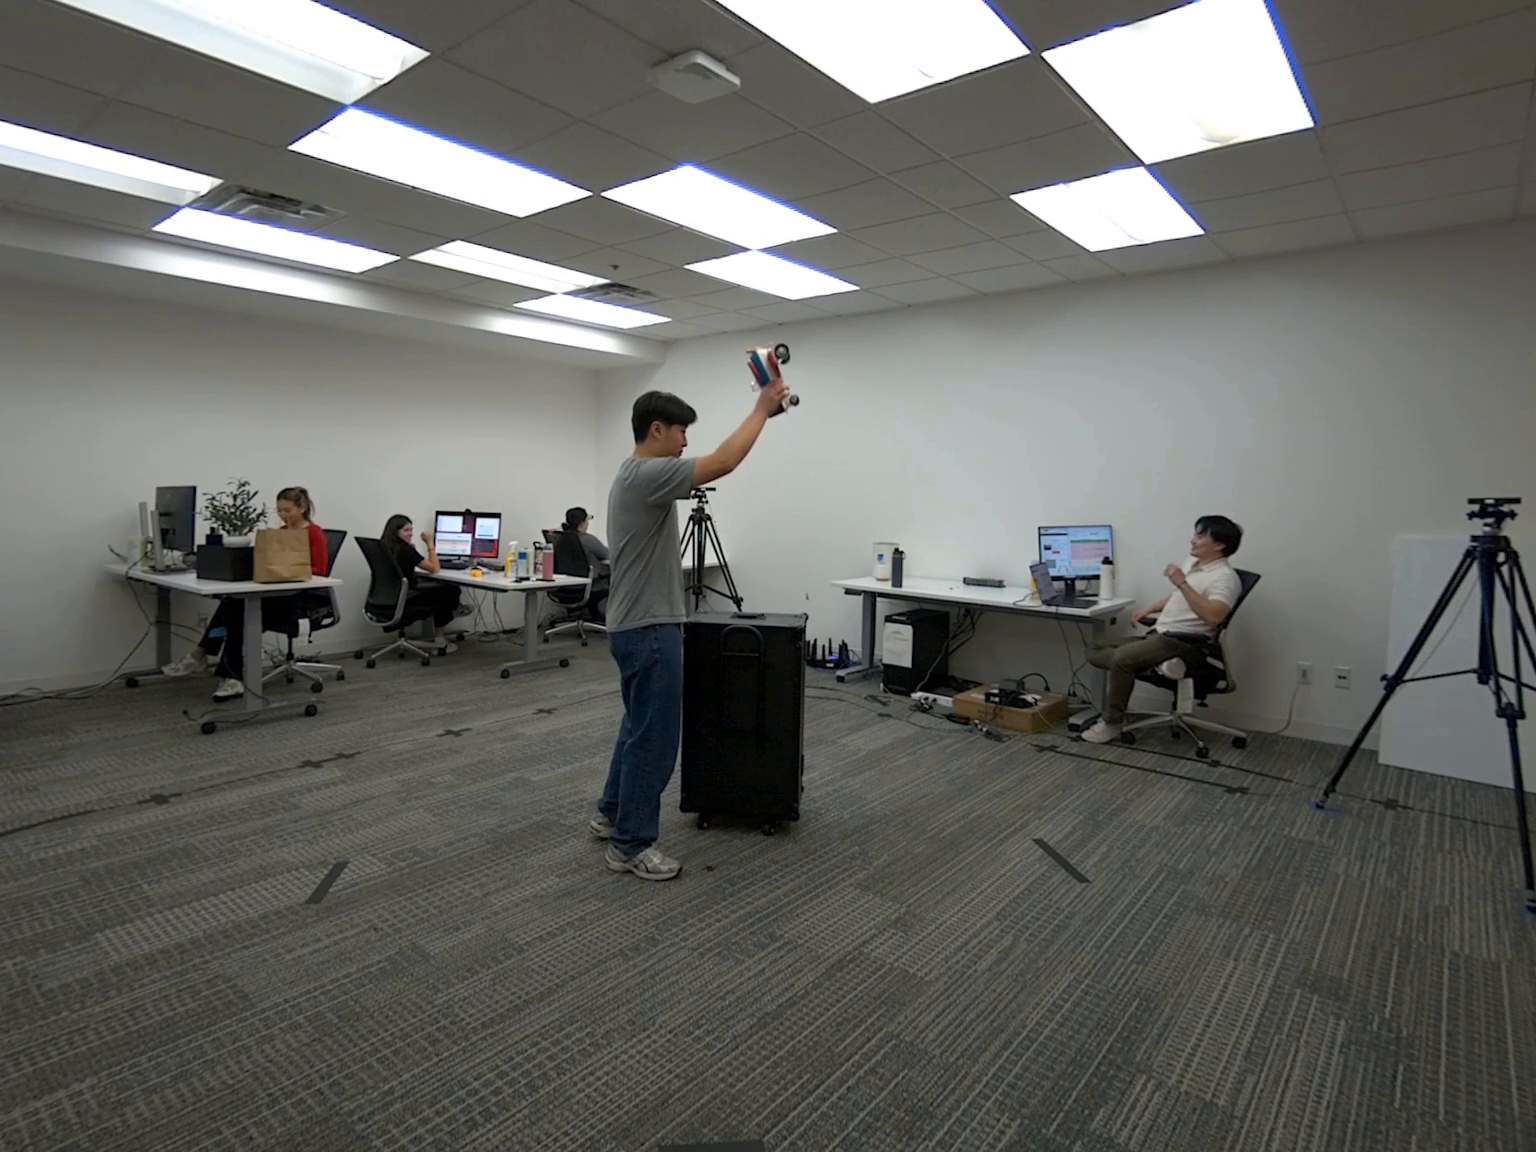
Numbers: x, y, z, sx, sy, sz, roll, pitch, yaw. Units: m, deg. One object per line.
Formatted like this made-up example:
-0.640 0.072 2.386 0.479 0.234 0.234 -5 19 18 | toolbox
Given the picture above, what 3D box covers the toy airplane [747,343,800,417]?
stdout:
0.009 -0.698 3.057 0.157 0.267 0.243 -11 -29 5 | toy airplane
